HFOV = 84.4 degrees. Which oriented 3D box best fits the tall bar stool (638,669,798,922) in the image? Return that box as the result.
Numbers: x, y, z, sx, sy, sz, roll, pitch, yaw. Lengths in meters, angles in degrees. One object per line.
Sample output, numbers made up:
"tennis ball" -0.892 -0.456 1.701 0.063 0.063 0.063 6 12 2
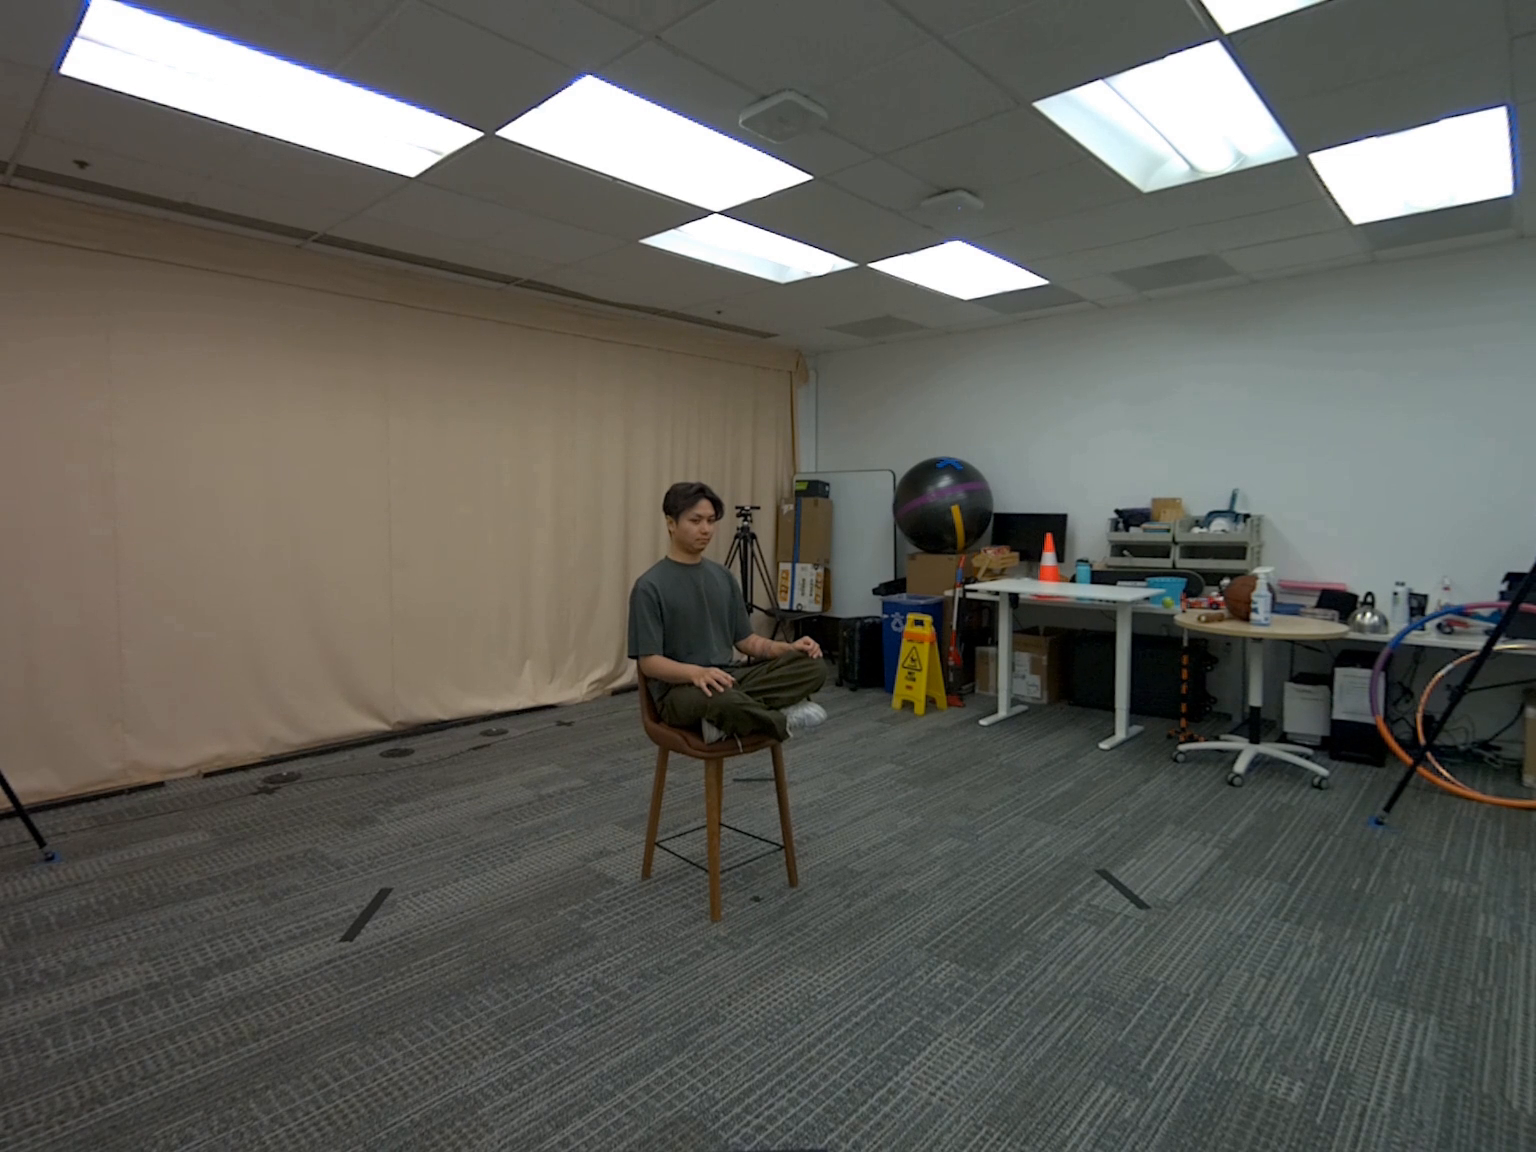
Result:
"tall bar stool" -0.195 0.701 3.102 0.442 0.889 0.482 -4 2 -43
